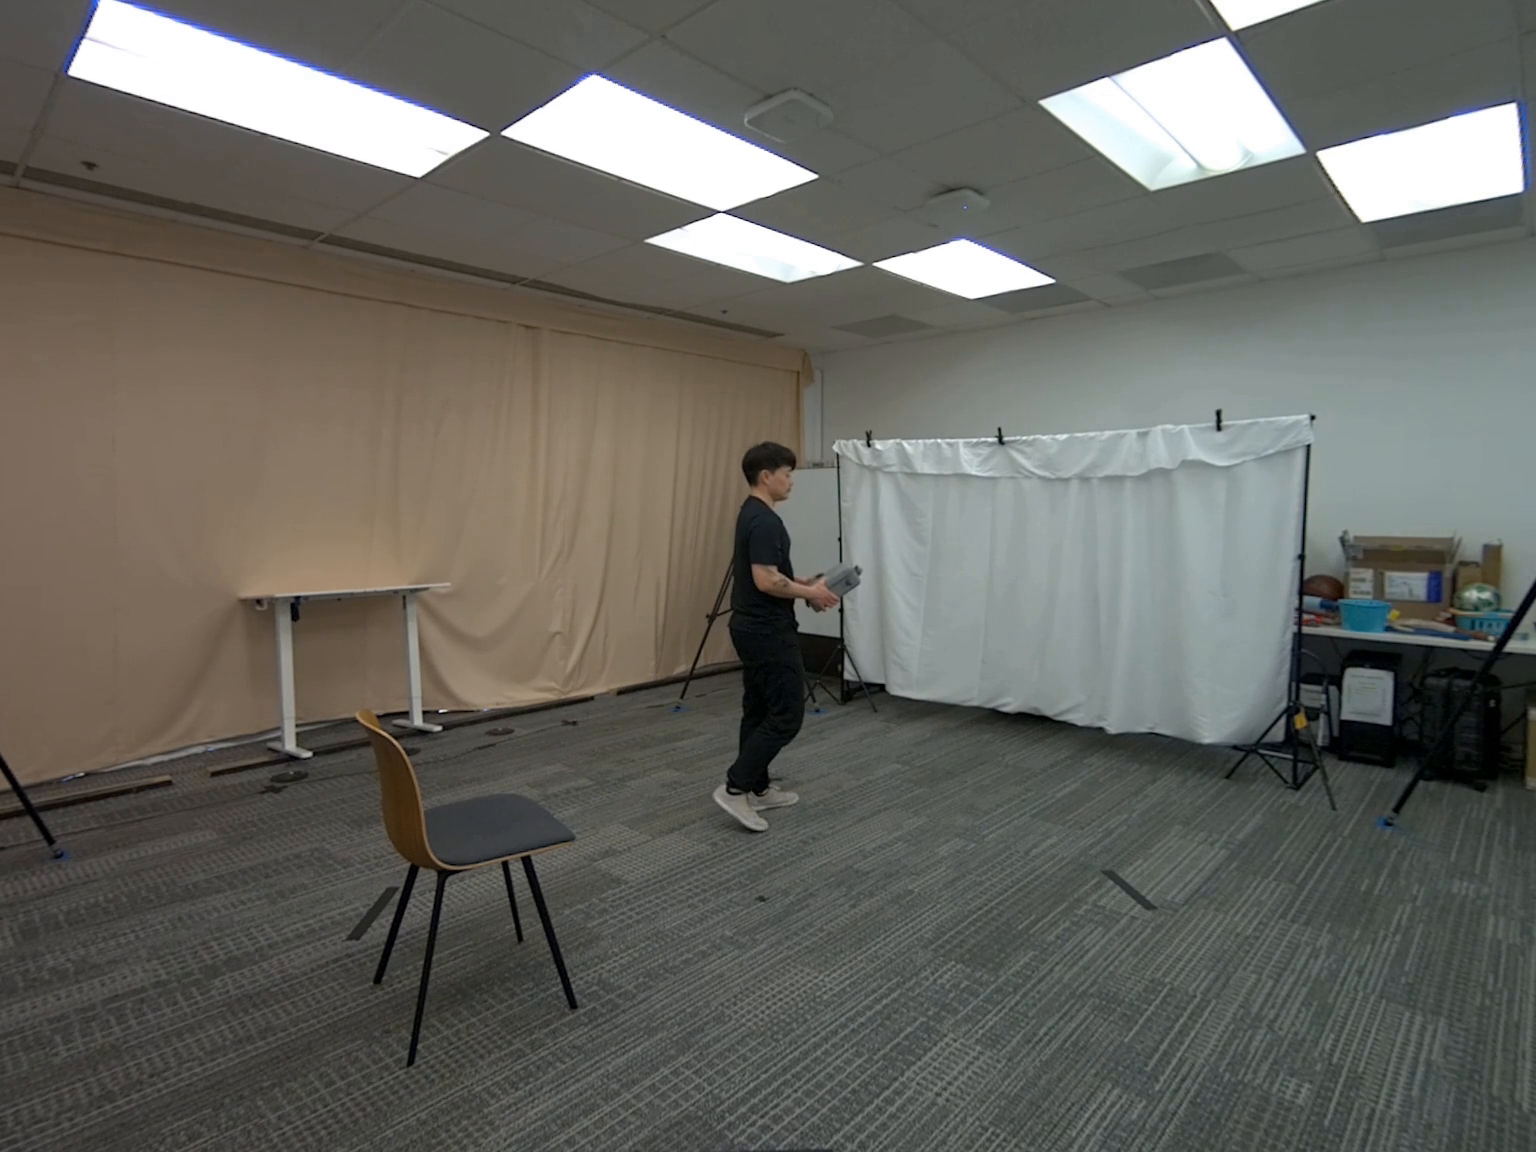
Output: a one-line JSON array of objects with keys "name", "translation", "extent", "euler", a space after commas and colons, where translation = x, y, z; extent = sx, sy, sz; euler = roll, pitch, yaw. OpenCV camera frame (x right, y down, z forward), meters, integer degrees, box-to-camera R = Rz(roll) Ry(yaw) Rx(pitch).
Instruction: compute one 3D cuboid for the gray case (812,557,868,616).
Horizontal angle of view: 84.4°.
[{"name": "gray case", "translation": [0.290, 0.042, 3.796], "extent": [0.261, 0.104, 0.257], "euler": [-34, 4, 4]}]
